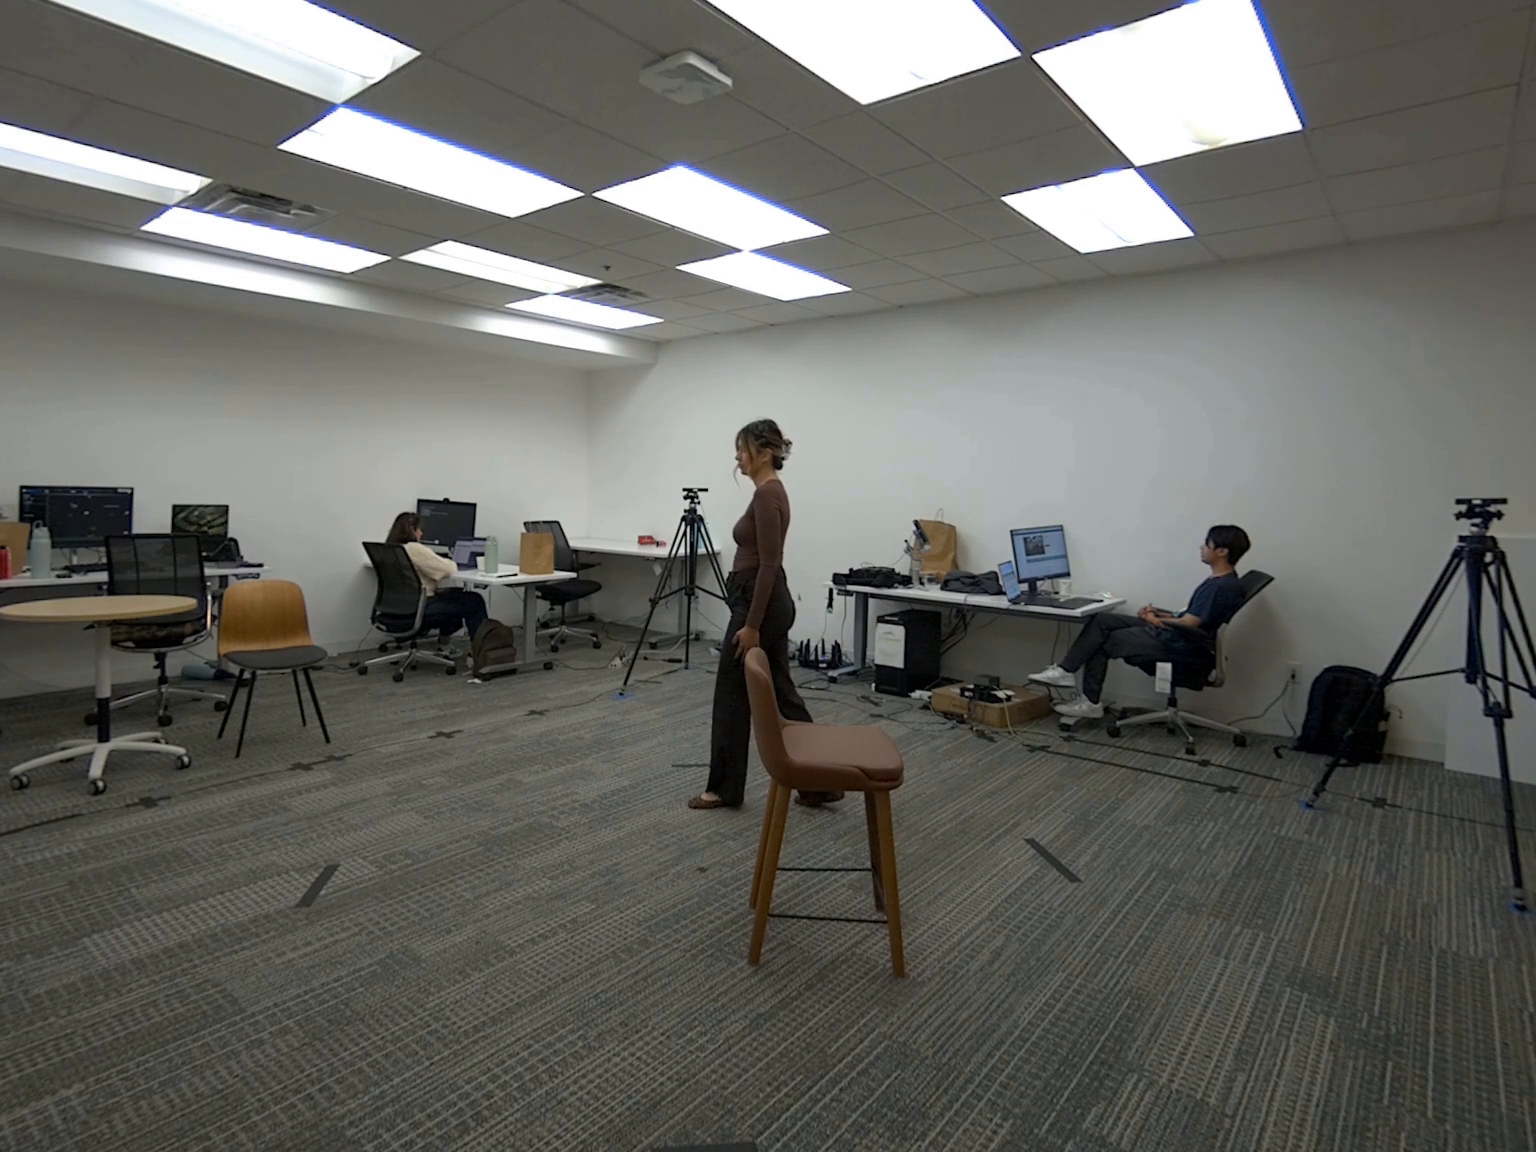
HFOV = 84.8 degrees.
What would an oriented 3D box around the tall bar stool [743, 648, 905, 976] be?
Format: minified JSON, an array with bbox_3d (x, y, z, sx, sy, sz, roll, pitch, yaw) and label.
[{"bbox_3d":[0.170,0.690,2.636,0.469,0.888,0.457,1,3,1],"label":"tall bar stool"}]
